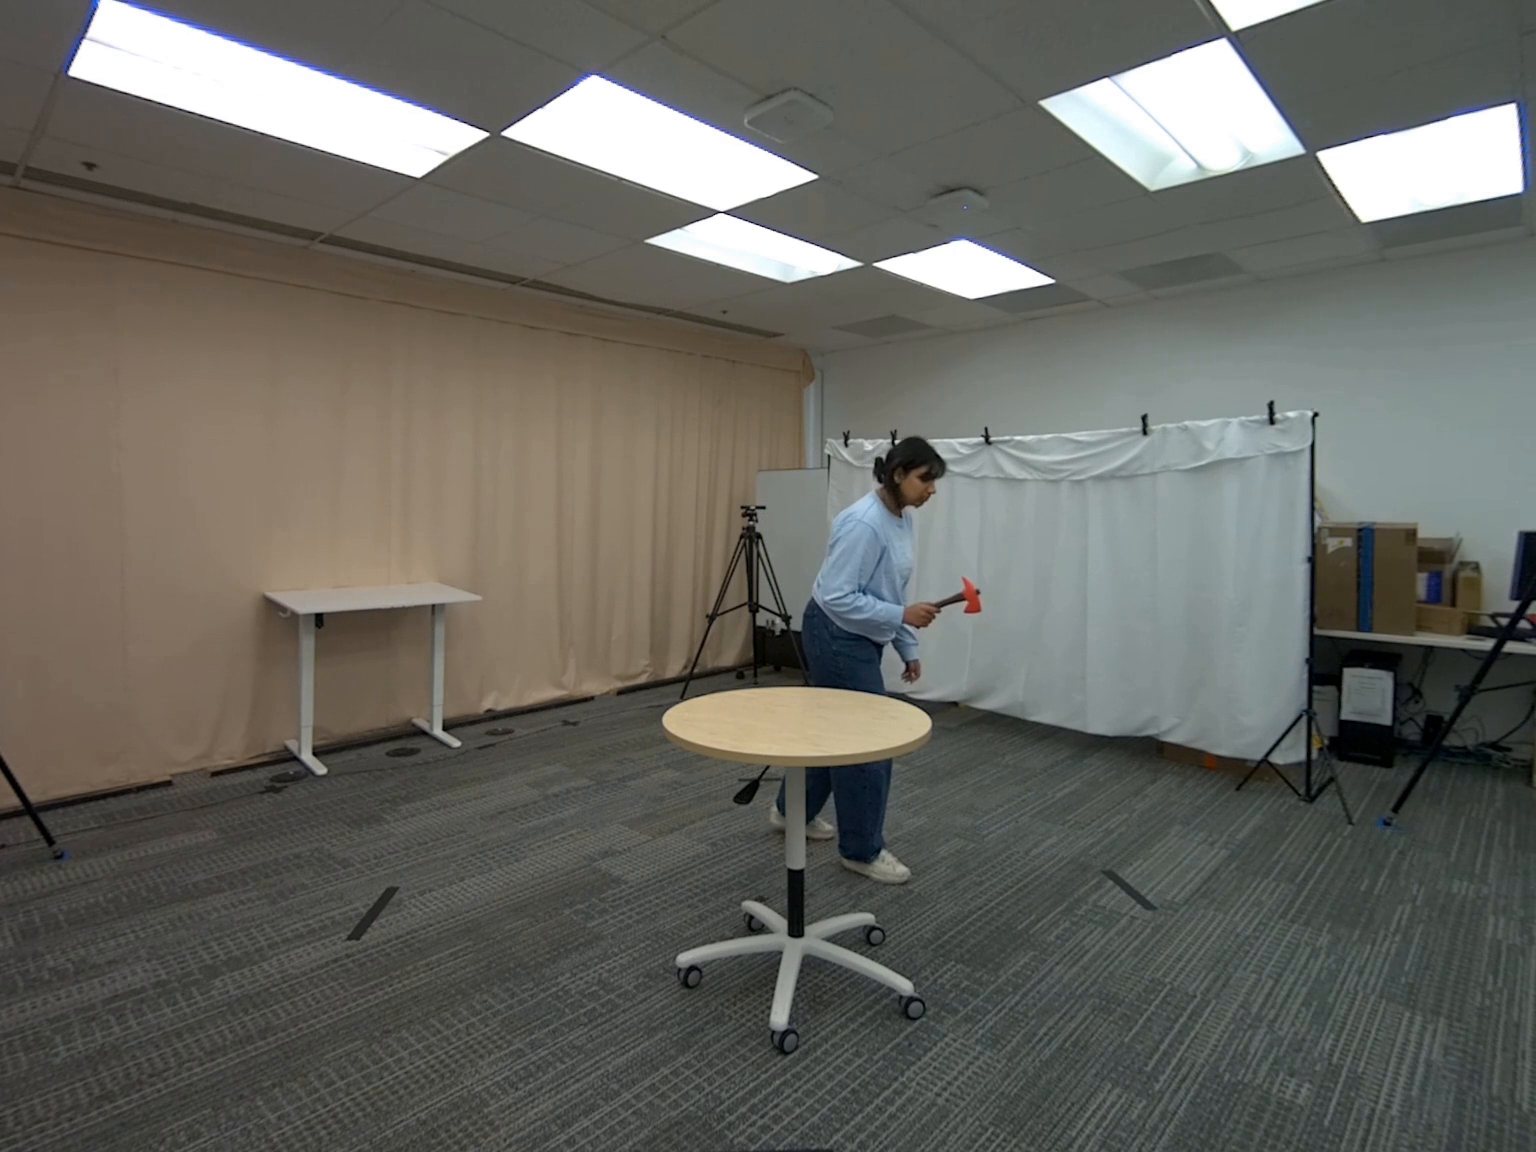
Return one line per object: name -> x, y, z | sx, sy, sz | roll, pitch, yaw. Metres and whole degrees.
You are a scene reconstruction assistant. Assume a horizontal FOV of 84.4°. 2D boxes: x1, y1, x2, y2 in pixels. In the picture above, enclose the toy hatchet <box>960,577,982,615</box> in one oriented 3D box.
toy hatchet -> 0.630, 0.127, 2.932 | 0.272, 0.131, 0.029 | -42, -1, 29
